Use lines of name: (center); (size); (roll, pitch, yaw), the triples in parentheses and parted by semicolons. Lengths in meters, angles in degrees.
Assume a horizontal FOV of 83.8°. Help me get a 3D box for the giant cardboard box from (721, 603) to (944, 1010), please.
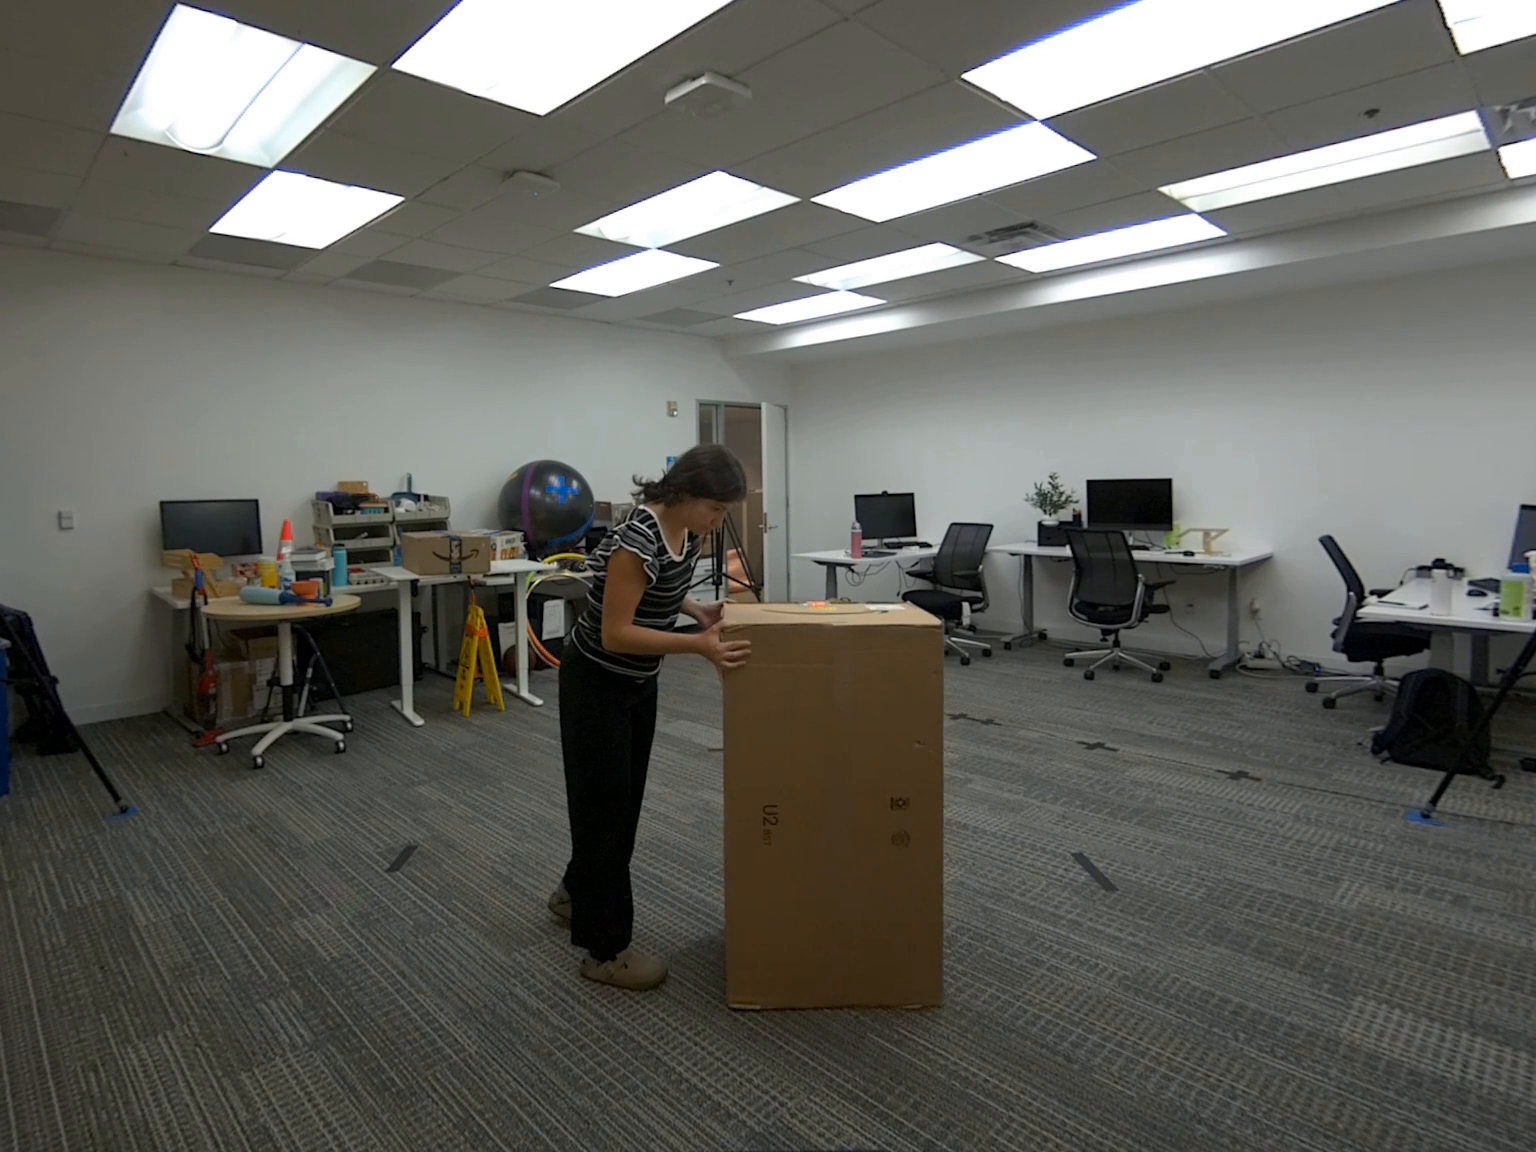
giant cardboard box: (0.166, 0.611, 2.435); (0.578, 1.023, 0.427); (0, 3, 0)
